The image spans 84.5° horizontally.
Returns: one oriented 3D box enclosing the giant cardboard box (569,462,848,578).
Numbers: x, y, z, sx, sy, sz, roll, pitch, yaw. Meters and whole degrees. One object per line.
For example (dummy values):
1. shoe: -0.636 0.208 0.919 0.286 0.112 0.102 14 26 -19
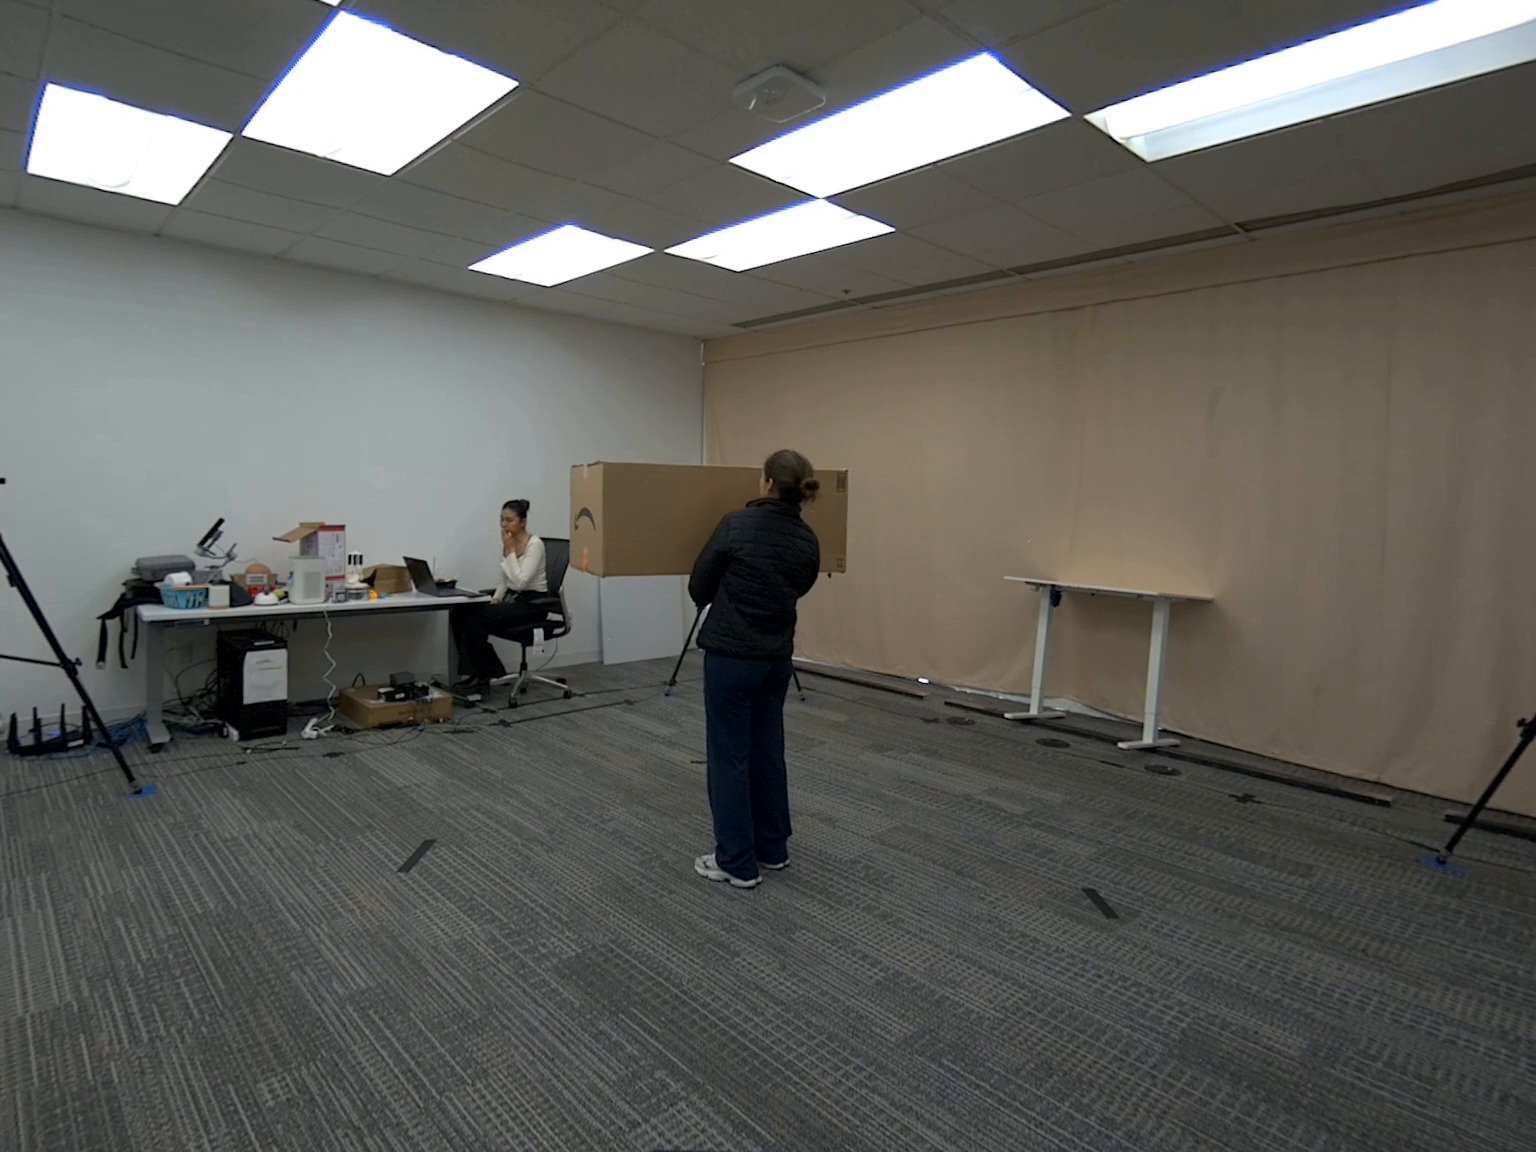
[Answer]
1. giant cardboard box: -0.261 -0.232 3.490 1.008 0.425 0.589 -1 5 -24
